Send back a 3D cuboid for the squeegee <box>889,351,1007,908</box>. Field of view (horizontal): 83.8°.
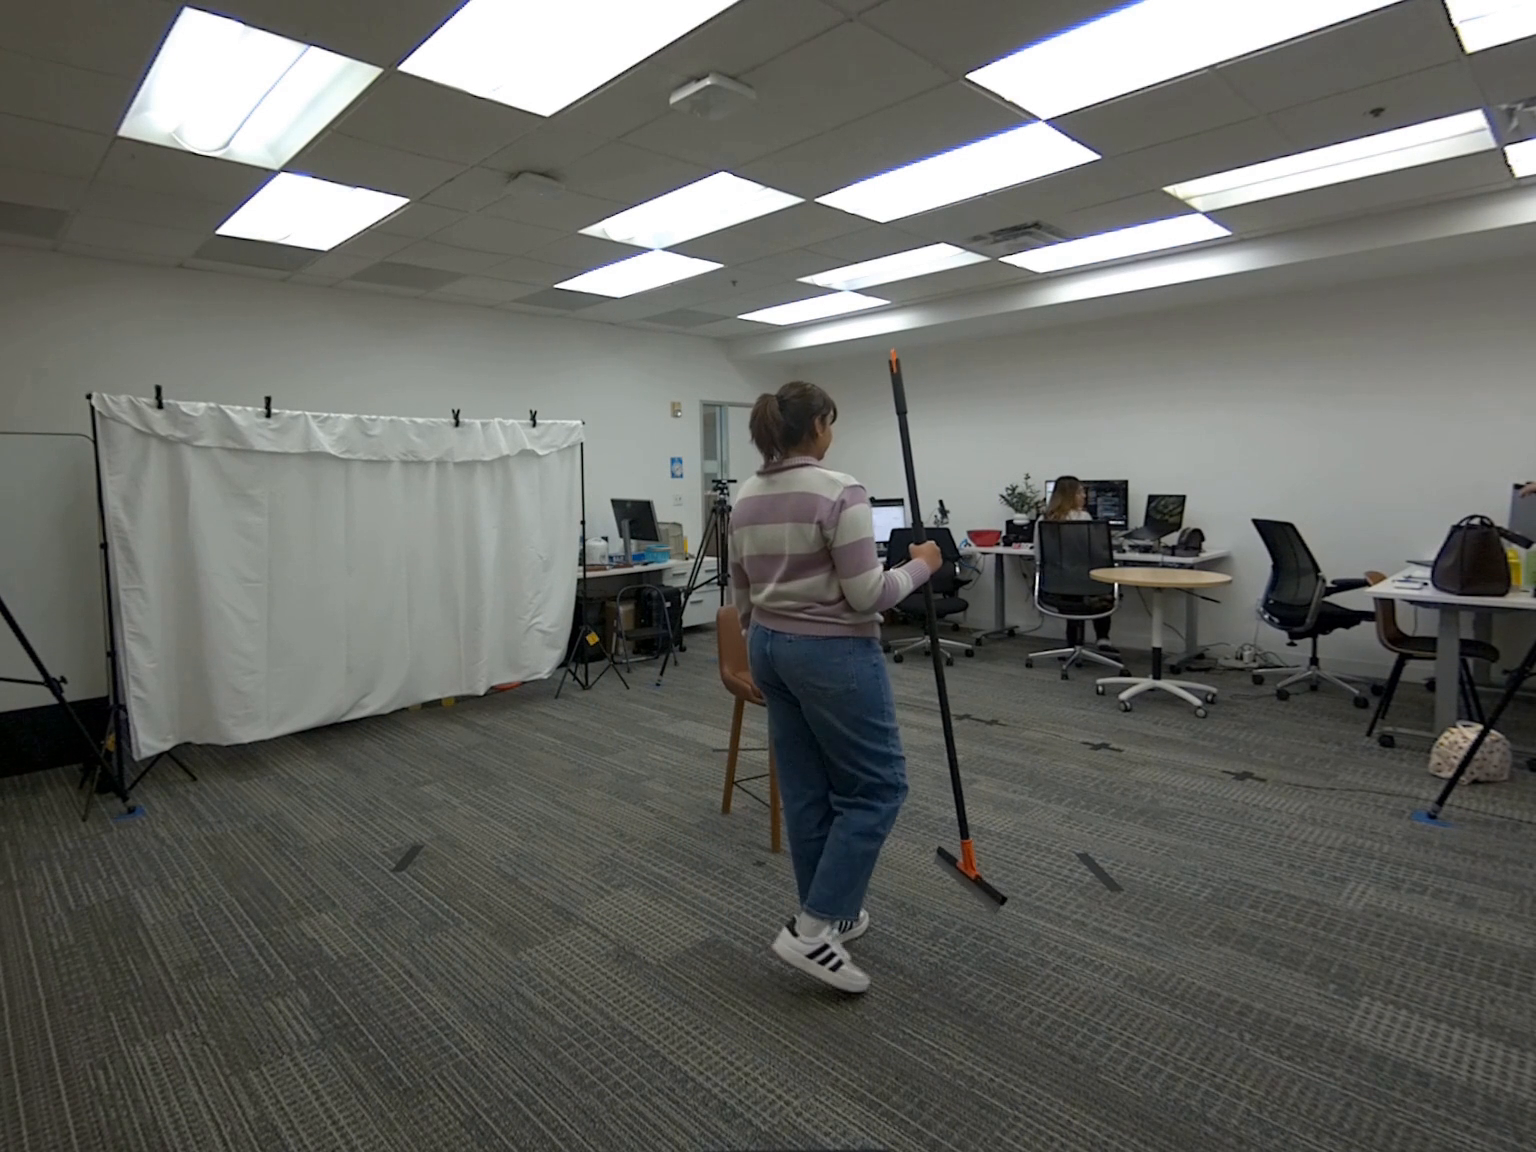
[{"bbox_3d":[0.478,0.118,2.468,0.053,1.541,0.437,-8,-2,-3],"label":"squeegee"}]
